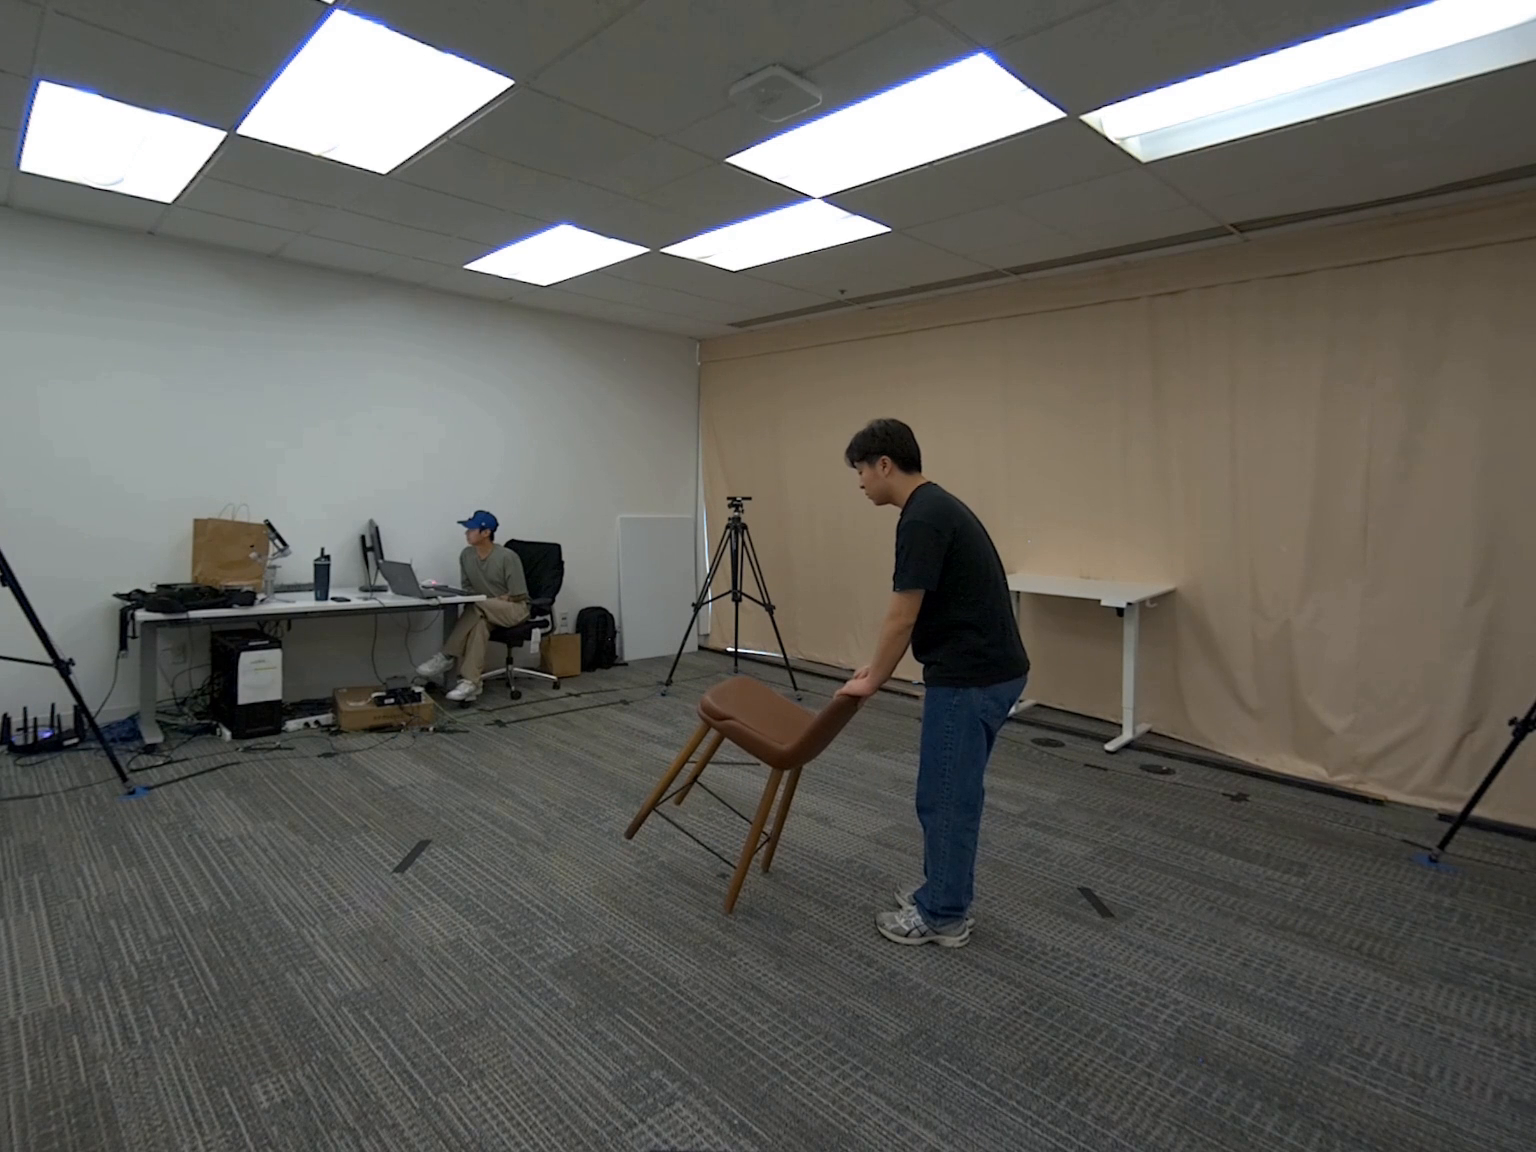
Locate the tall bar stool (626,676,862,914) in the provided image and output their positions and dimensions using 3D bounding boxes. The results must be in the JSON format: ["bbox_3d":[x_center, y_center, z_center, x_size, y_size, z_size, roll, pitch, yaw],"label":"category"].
[{"bbox_3d":[-0.060,0.641,2.961,0.477,0.886,0.449,33,14,18],"label":"tall bar stool"}]
